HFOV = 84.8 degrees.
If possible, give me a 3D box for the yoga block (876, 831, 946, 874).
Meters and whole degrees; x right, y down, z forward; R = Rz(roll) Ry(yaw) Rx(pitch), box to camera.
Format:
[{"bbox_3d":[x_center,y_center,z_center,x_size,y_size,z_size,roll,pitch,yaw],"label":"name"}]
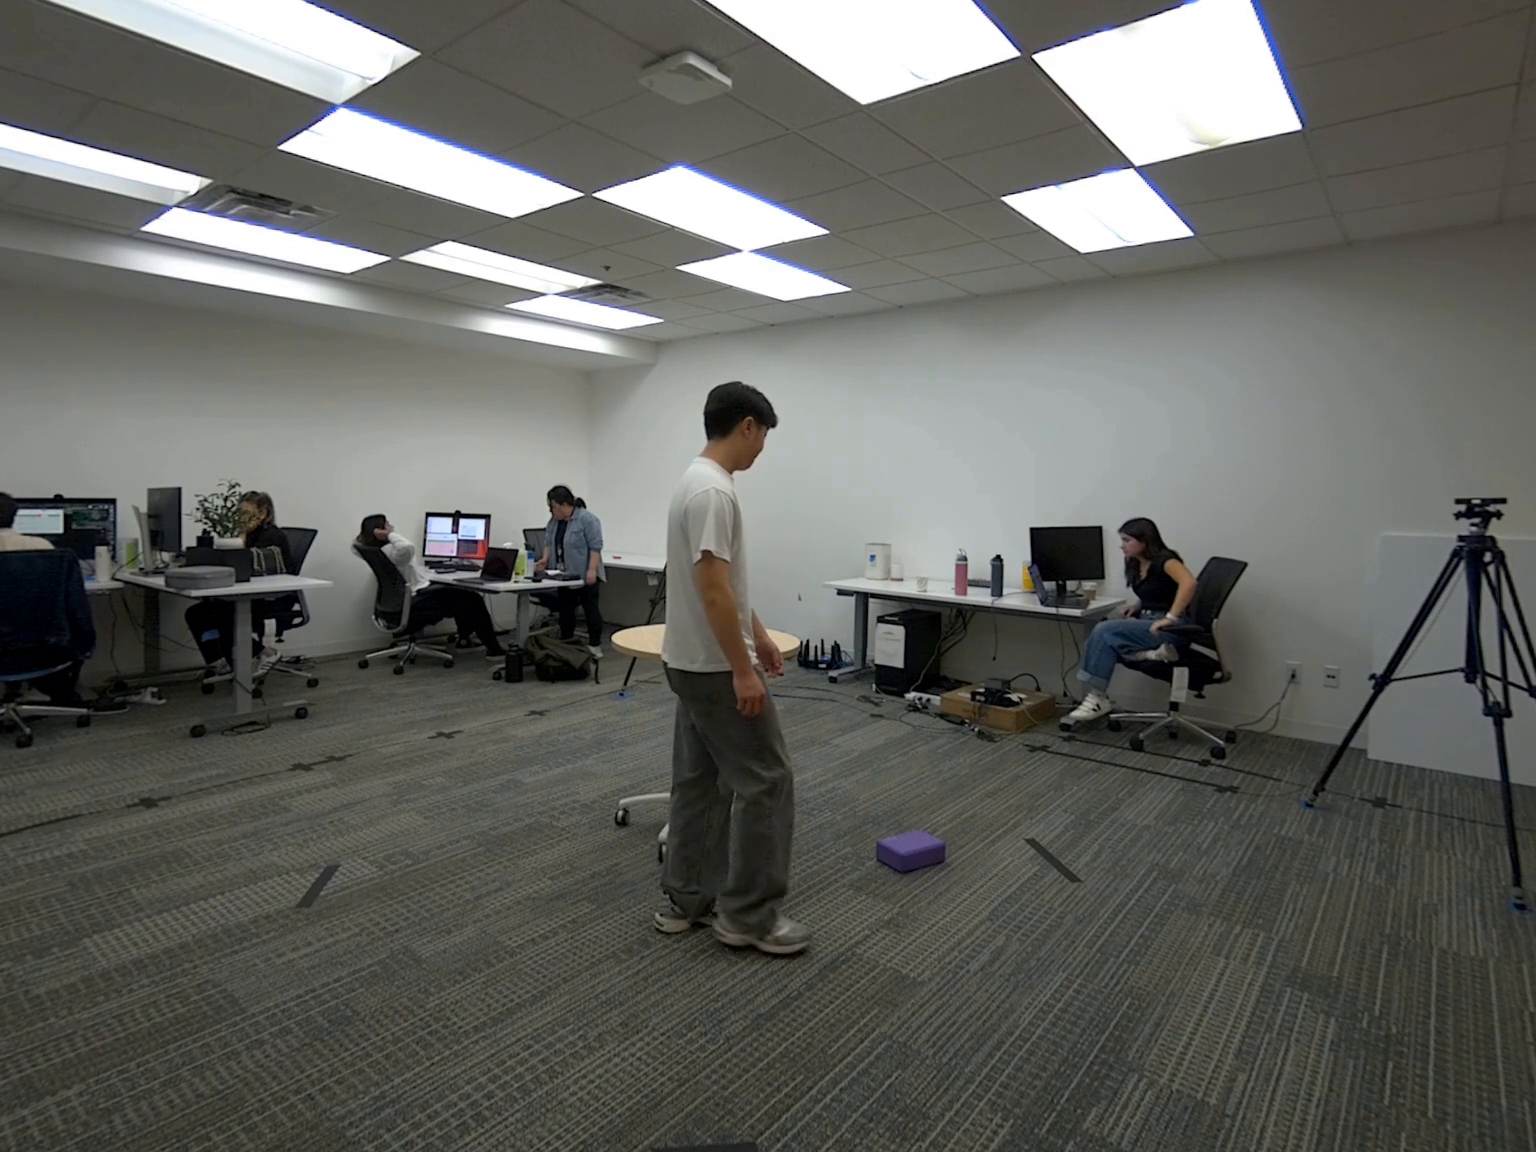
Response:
[{"bbox_3d":[0.546,1.031,3.223,0.223,0.076,0.154,-2,6,-32],"label":"yoga block"}]
